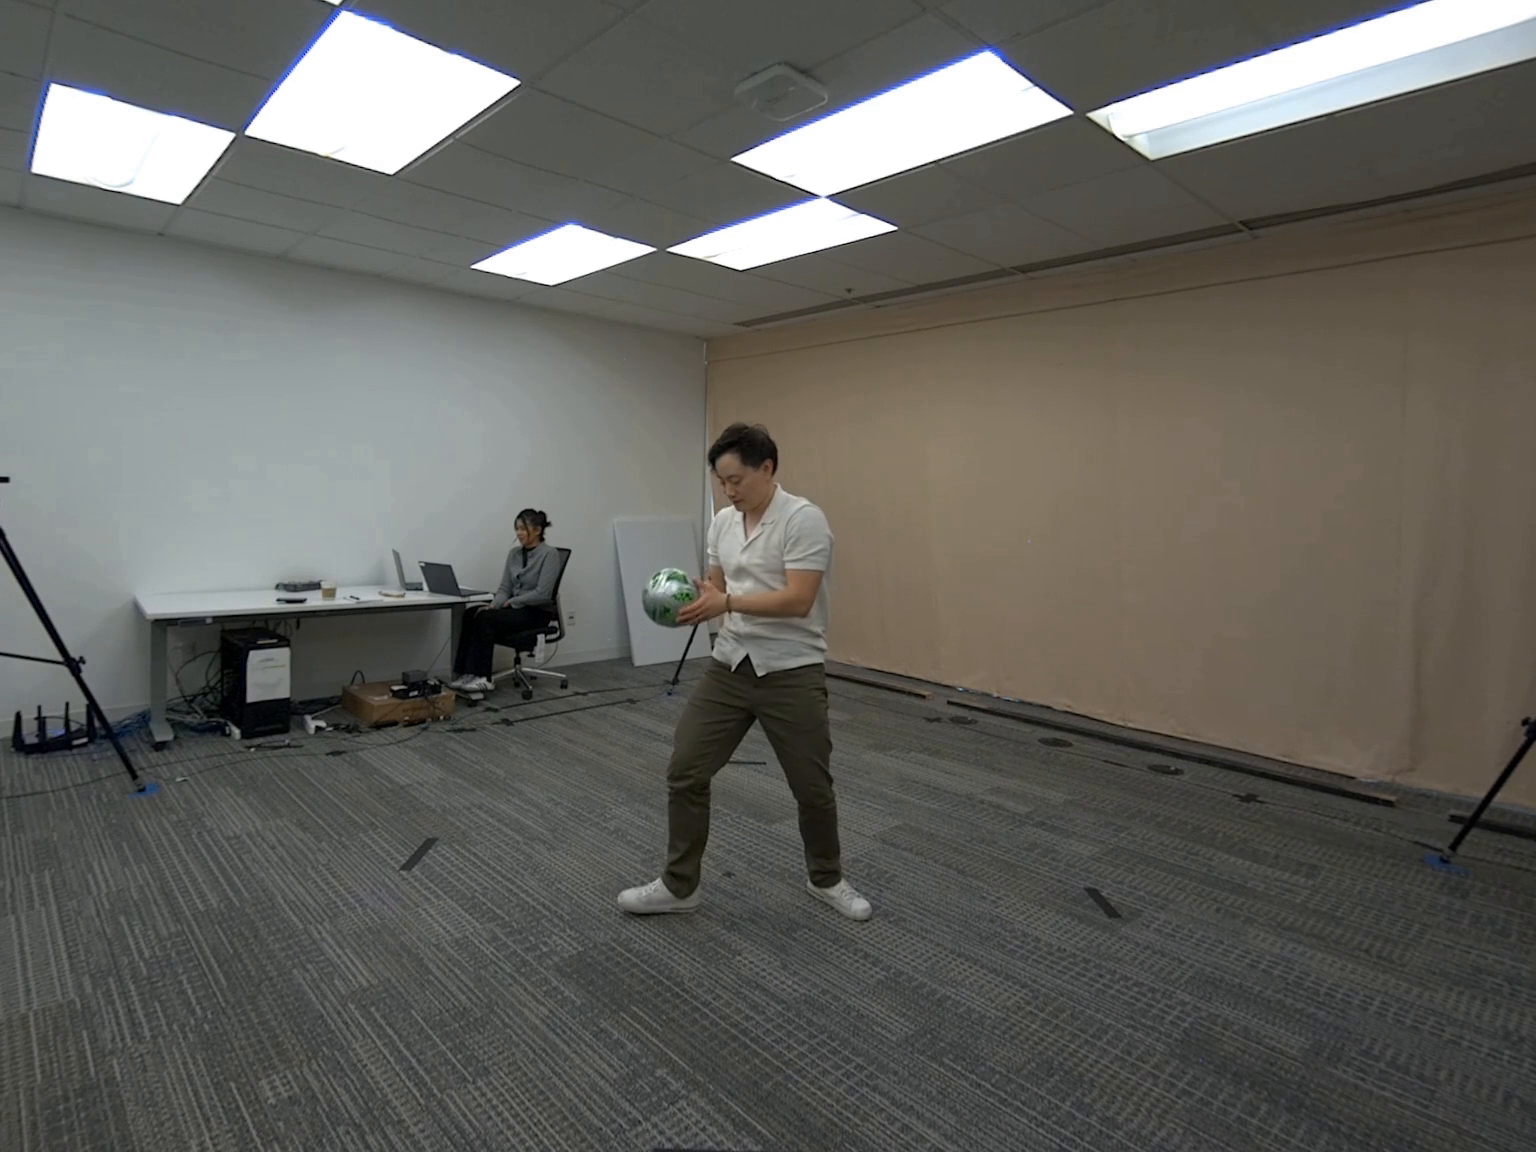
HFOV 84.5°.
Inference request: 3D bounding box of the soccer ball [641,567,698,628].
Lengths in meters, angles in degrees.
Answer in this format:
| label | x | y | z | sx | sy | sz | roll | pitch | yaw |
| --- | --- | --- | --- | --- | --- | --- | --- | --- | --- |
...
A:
| label | x | y | z | sx | sy | sz | roll | pitch | yaw |
| --- | --- | --- | --- | --- | --- | --- | --- | --- | --- |
| soccer ball | -0.313 | 0.070 | 2.636 | 0.187 | 0.187 | 0.188 | 1 | 4 | -1 |
